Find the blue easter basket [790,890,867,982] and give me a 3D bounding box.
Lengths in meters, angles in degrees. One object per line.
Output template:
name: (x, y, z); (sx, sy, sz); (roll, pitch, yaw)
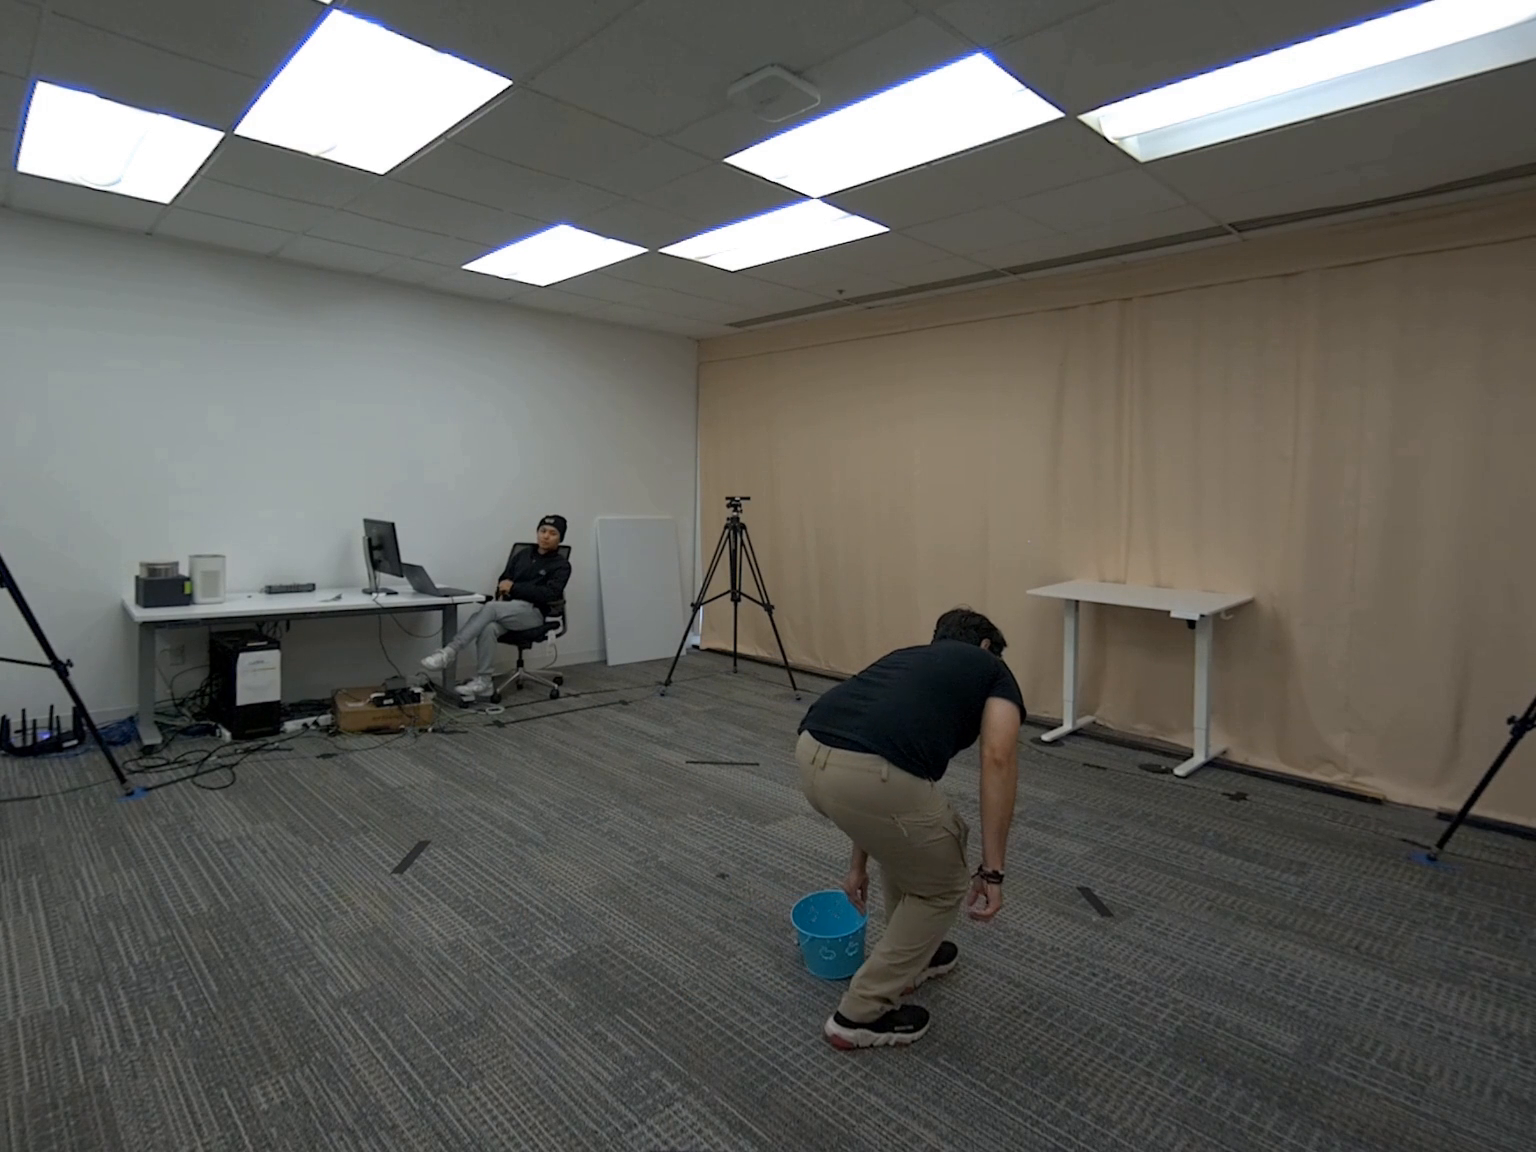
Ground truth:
blue easter basket: (0.187, 1.077, 2.521); (0.243, 0.154, 0.246); (-6, 12, 0)
